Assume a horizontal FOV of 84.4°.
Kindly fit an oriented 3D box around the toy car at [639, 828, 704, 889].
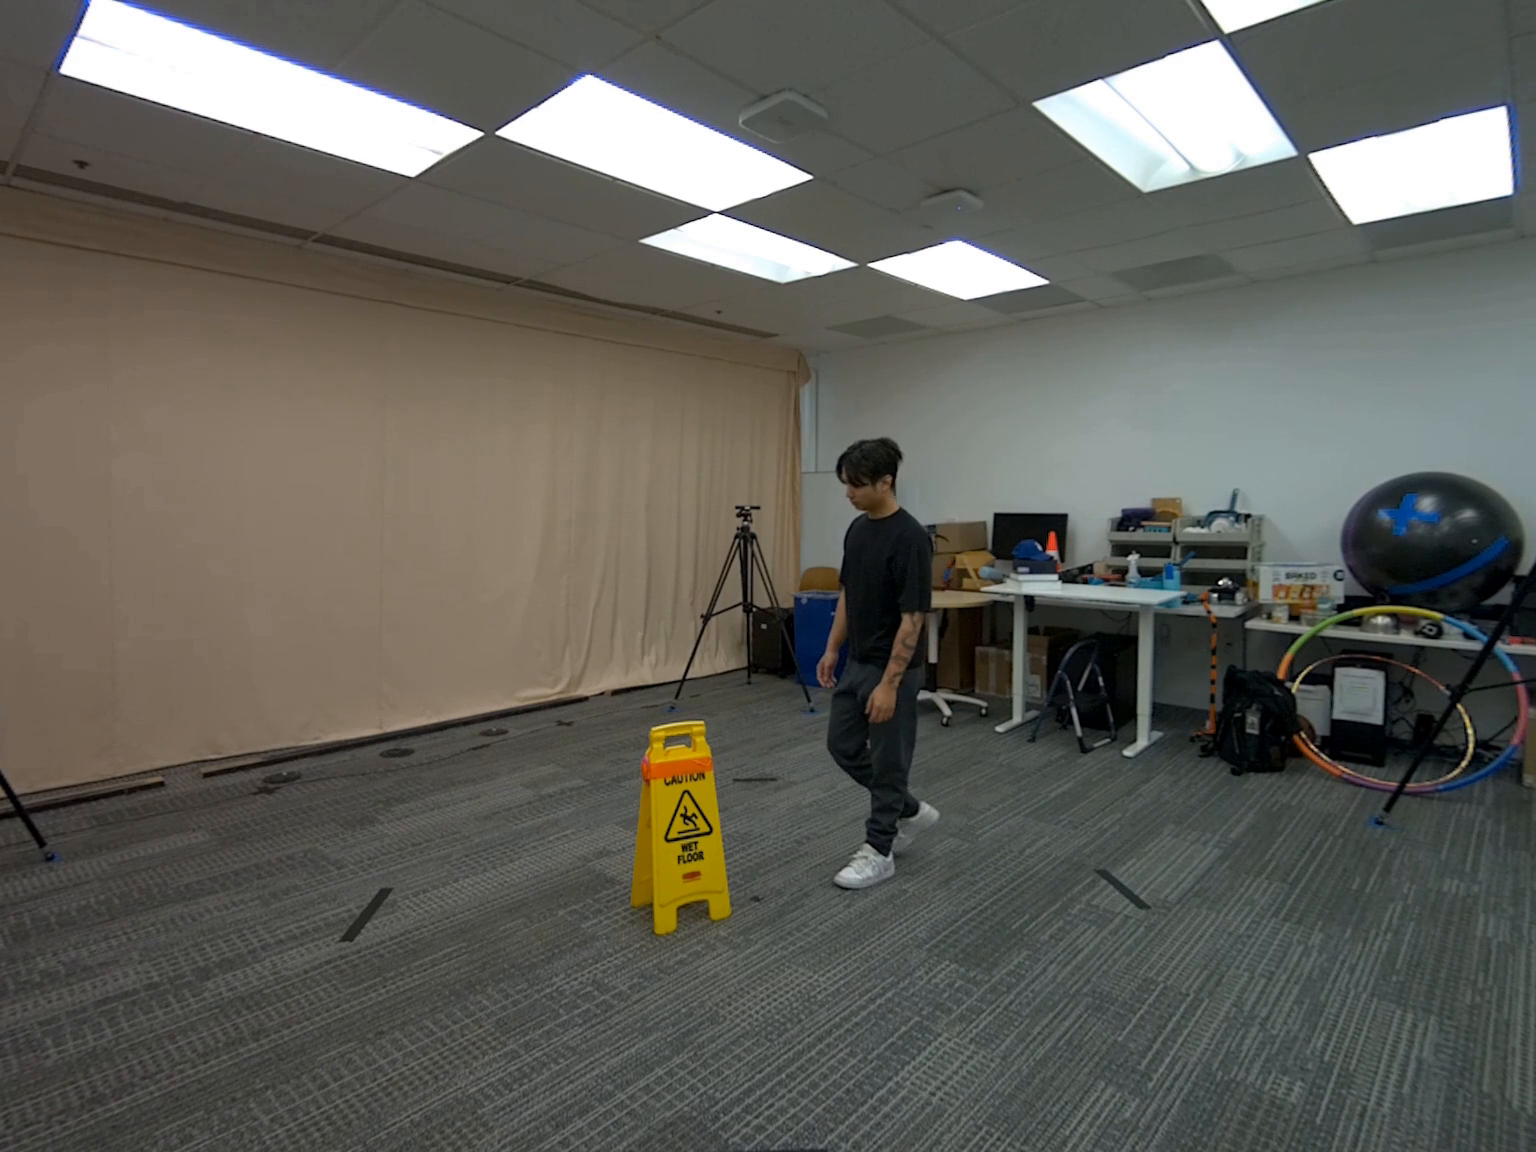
[{"bbox_3d":[-0.373,1.094,3.301,0.133,0.082,0.250,-2,14,26],"label":"toy car"}]
